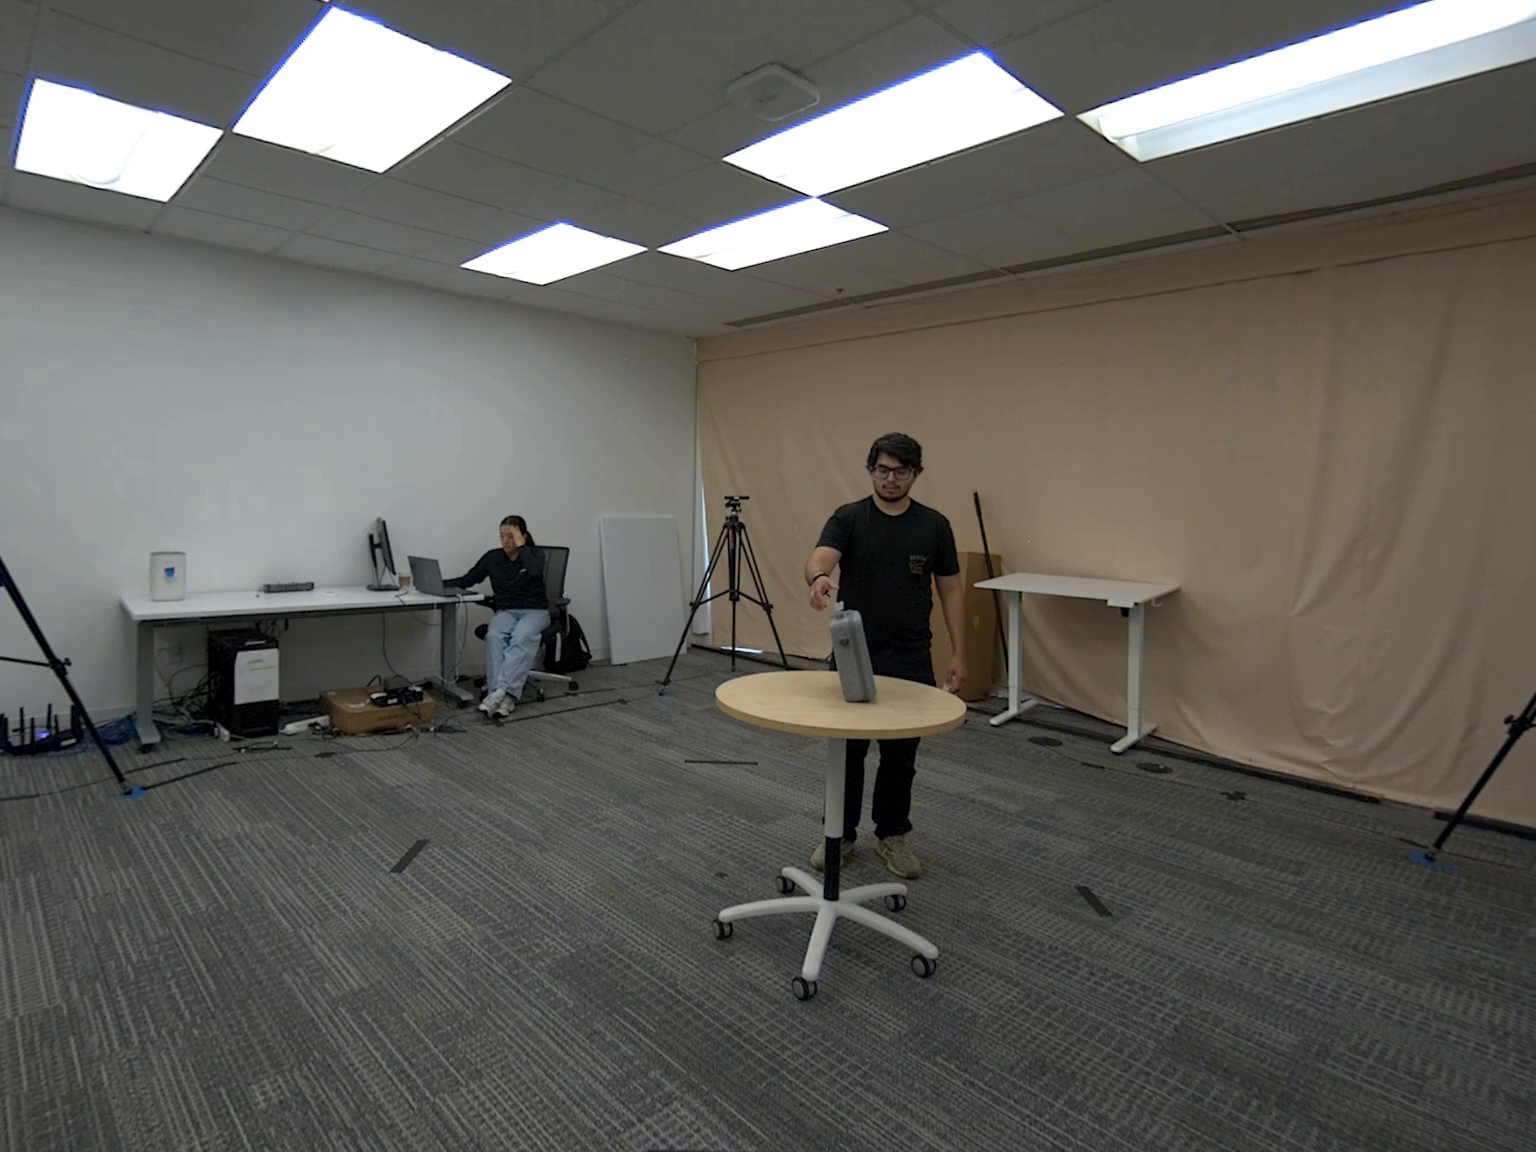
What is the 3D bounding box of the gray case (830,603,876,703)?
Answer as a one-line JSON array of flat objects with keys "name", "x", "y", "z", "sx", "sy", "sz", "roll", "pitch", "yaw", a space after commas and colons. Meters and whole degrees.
[{"name": "gray case", "x": 0.264, "y": 0.248, "z": 2.631, "sx": 0.105, "sy": 0.260, "sz": 0.256, "roll": -8, "pitch": 2, "yaw": 5}]
